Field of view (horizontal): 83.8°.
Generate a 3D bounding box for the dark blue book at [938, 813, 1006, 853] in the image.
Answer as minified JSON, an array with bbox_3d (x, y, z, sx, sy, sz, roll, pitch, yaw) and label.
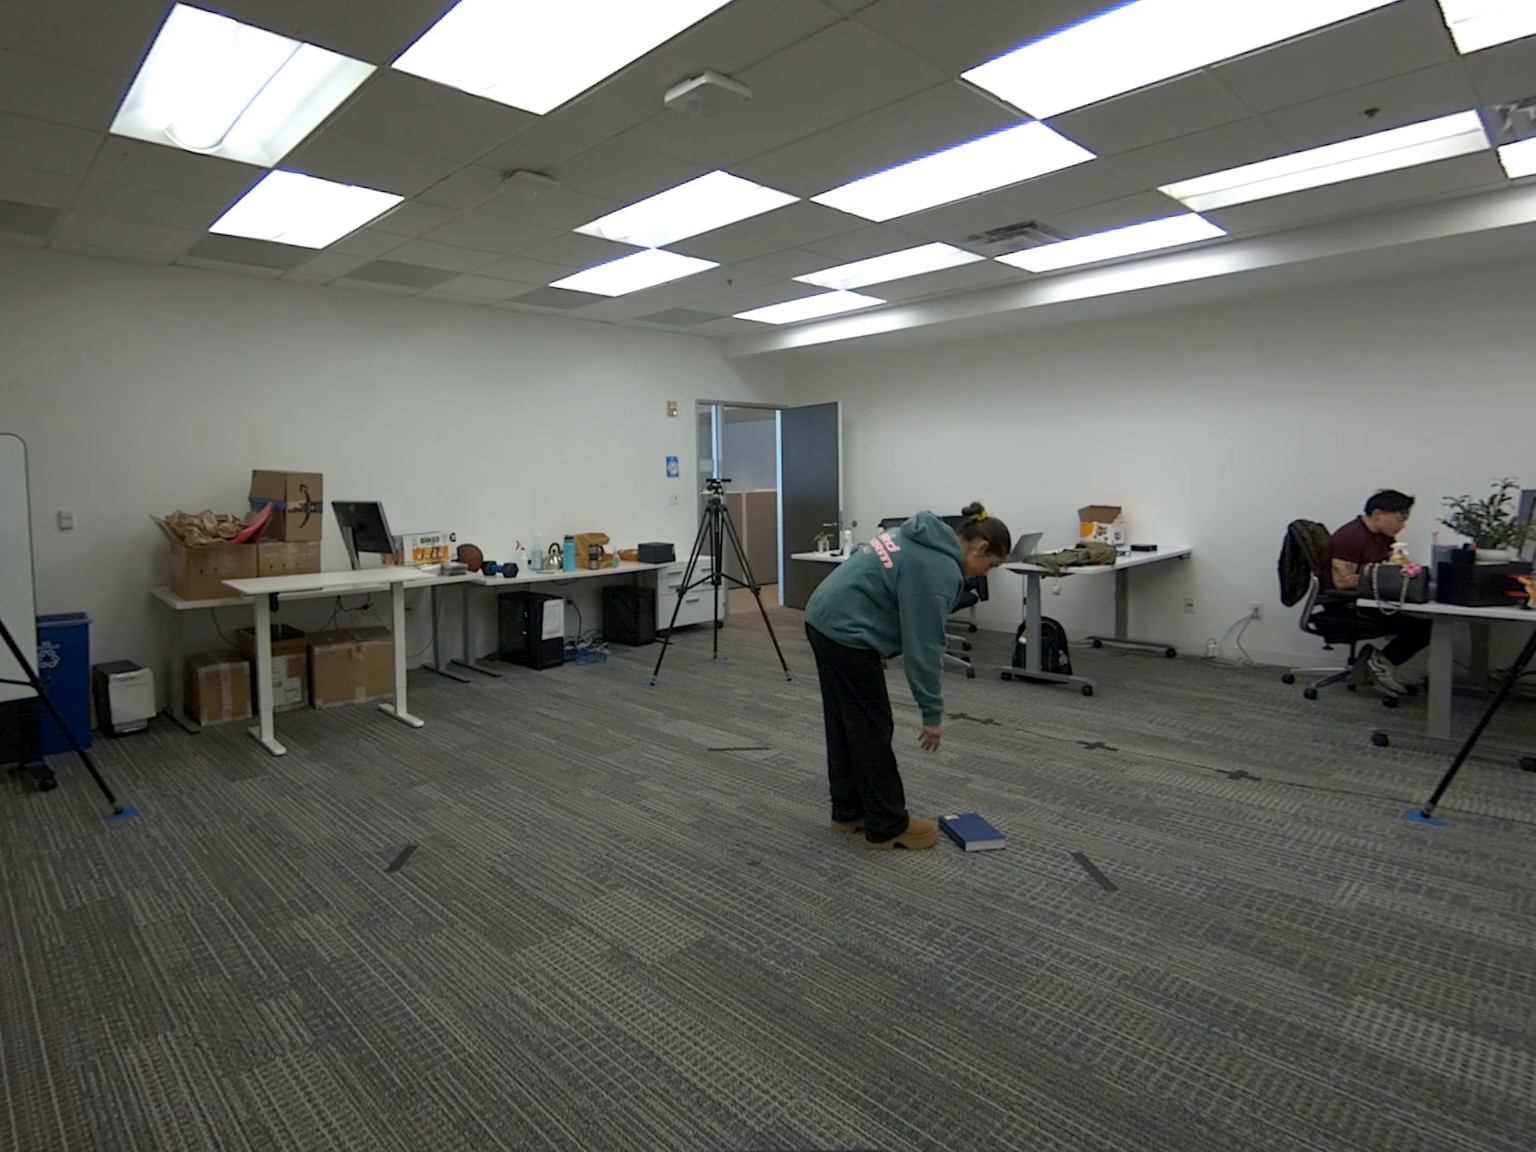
[{"bbox_3d":[0.776,0.977,3.292,0.162,0.045,0.248,-2,6,-11],"label":"dark blue book"}]
